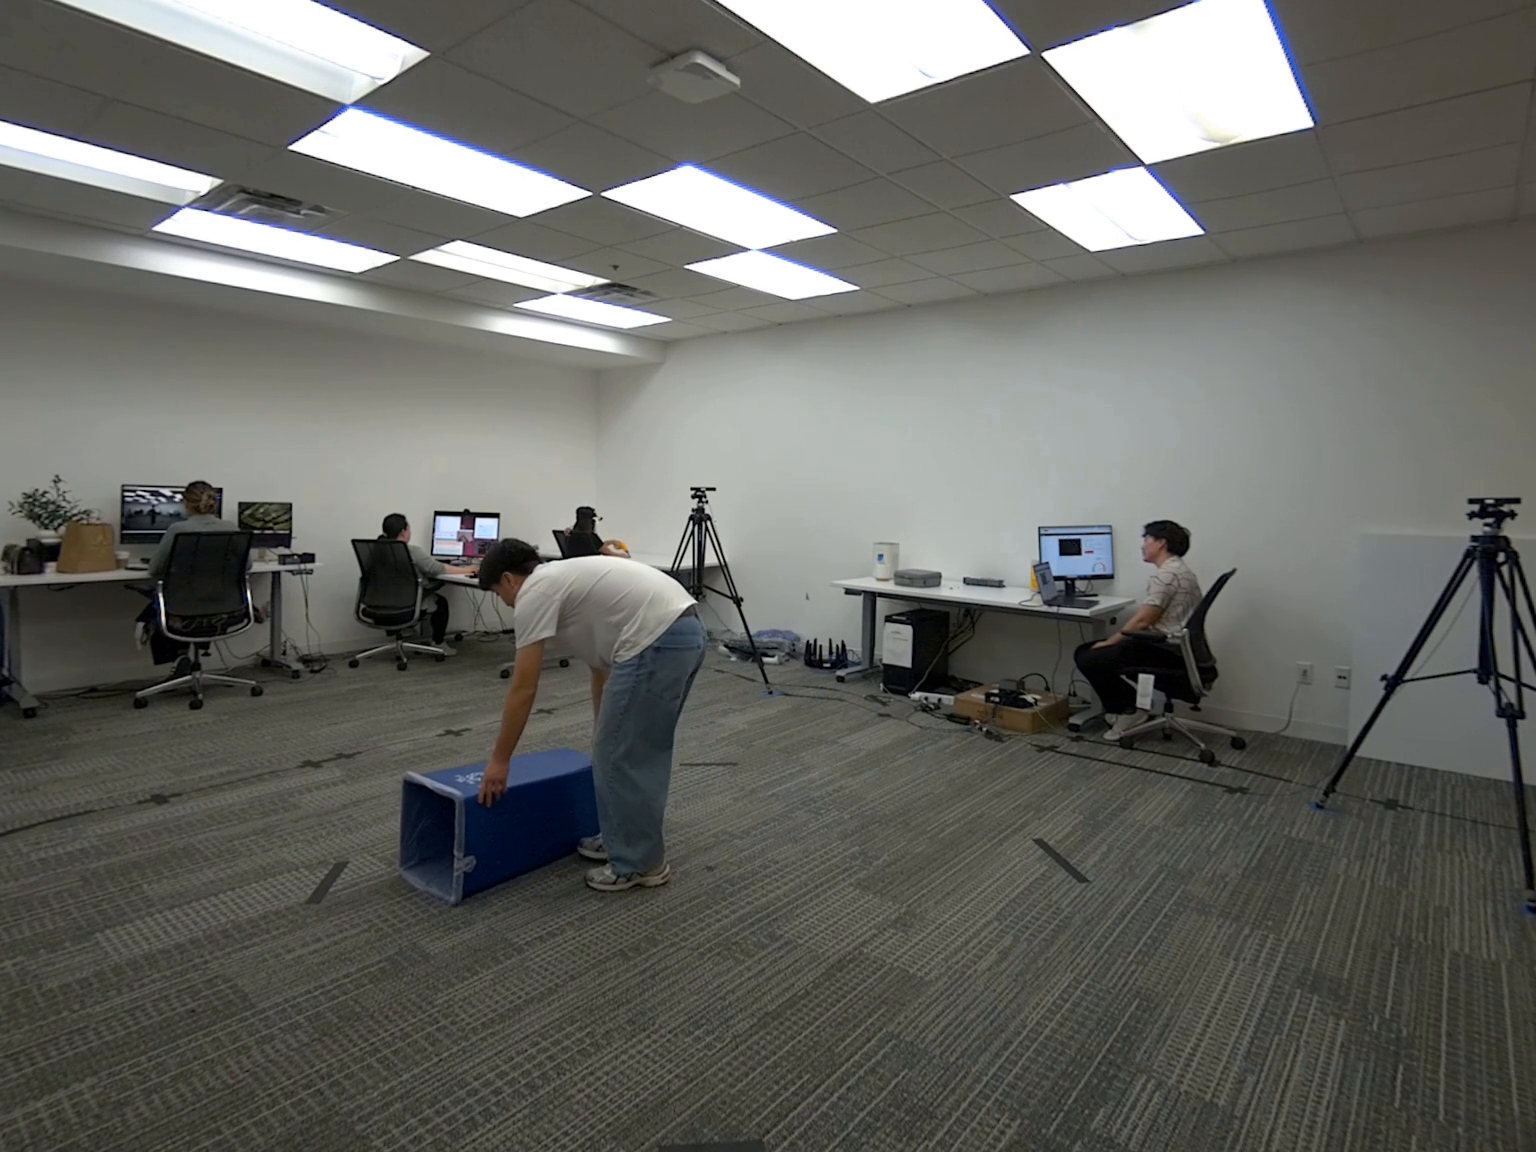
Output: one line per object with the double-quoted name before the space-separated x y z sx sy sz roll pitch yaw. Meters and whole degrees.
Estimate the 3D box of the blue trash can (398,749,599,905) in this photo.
"blue trash can" -0.970 0.883 3.172 0.386 0.378 0.691 3 2 37
